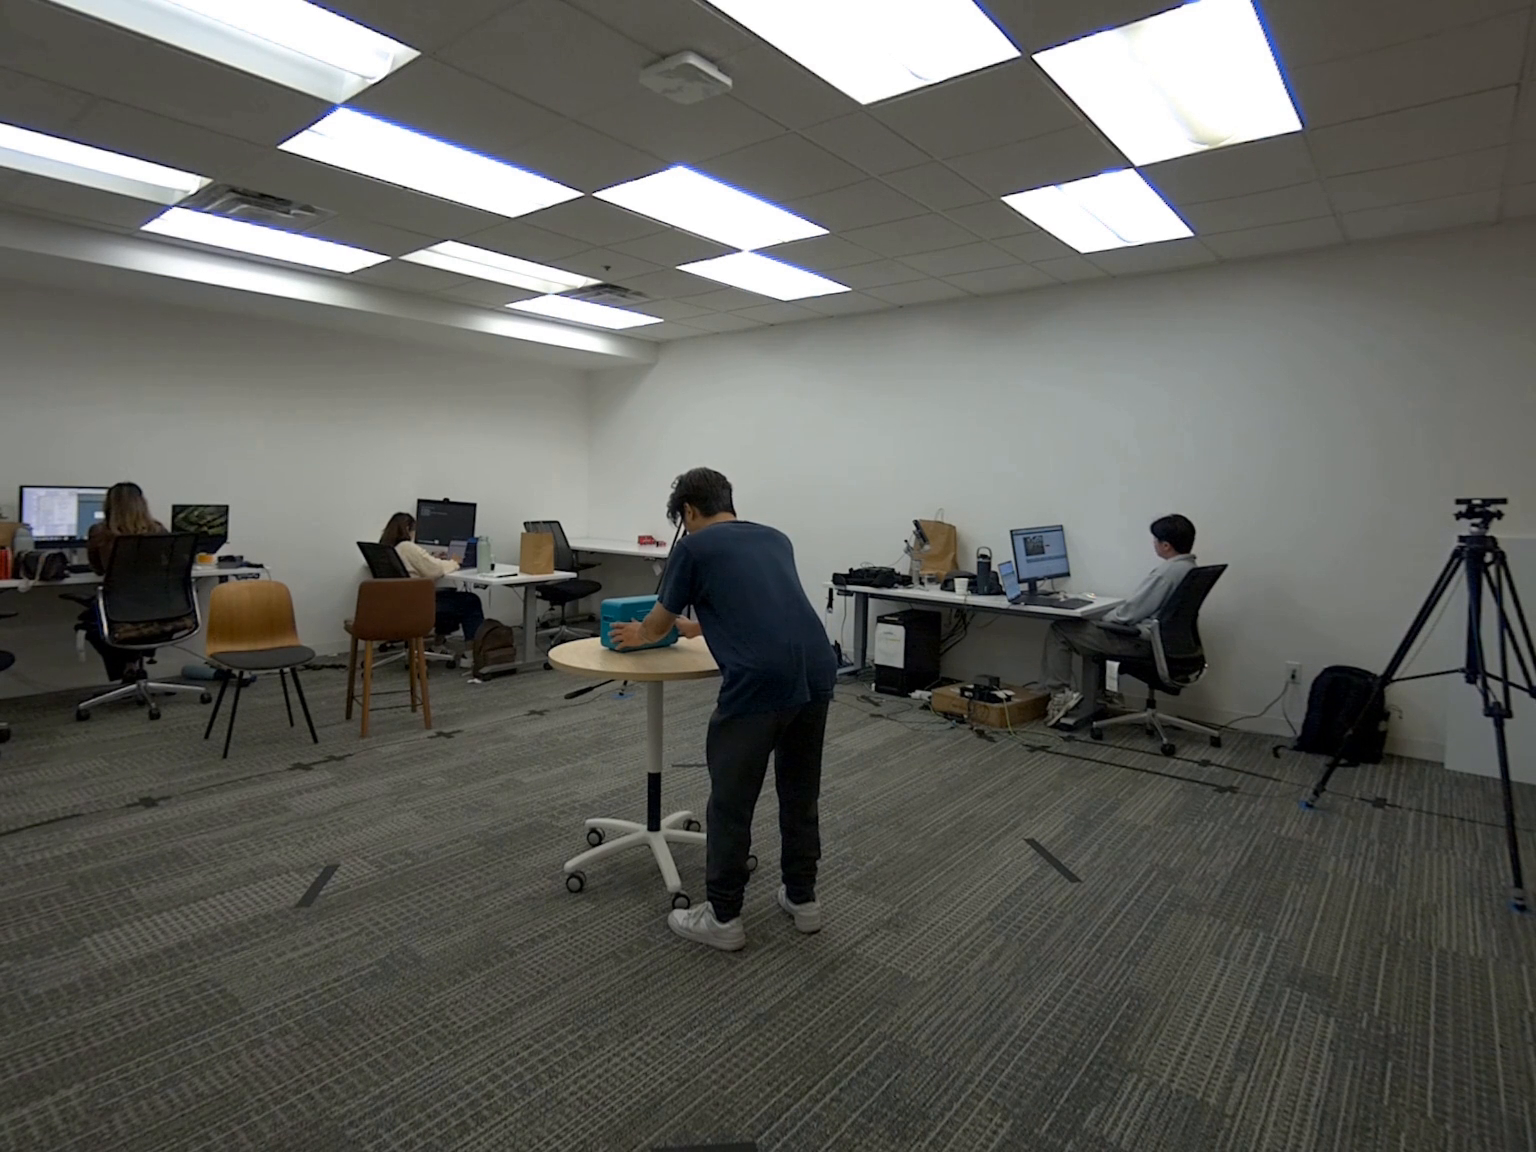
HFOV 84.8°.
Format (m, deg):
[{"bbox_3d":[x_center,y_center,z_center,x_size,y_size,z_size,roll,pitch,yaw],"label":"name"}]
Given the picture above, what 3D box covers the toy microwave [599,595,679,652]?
[{"bbox_3d":[-0.492,0.171,3.166,0.277,0.183,0.157,-4,5,-43],"label":"toy microwave"}]
